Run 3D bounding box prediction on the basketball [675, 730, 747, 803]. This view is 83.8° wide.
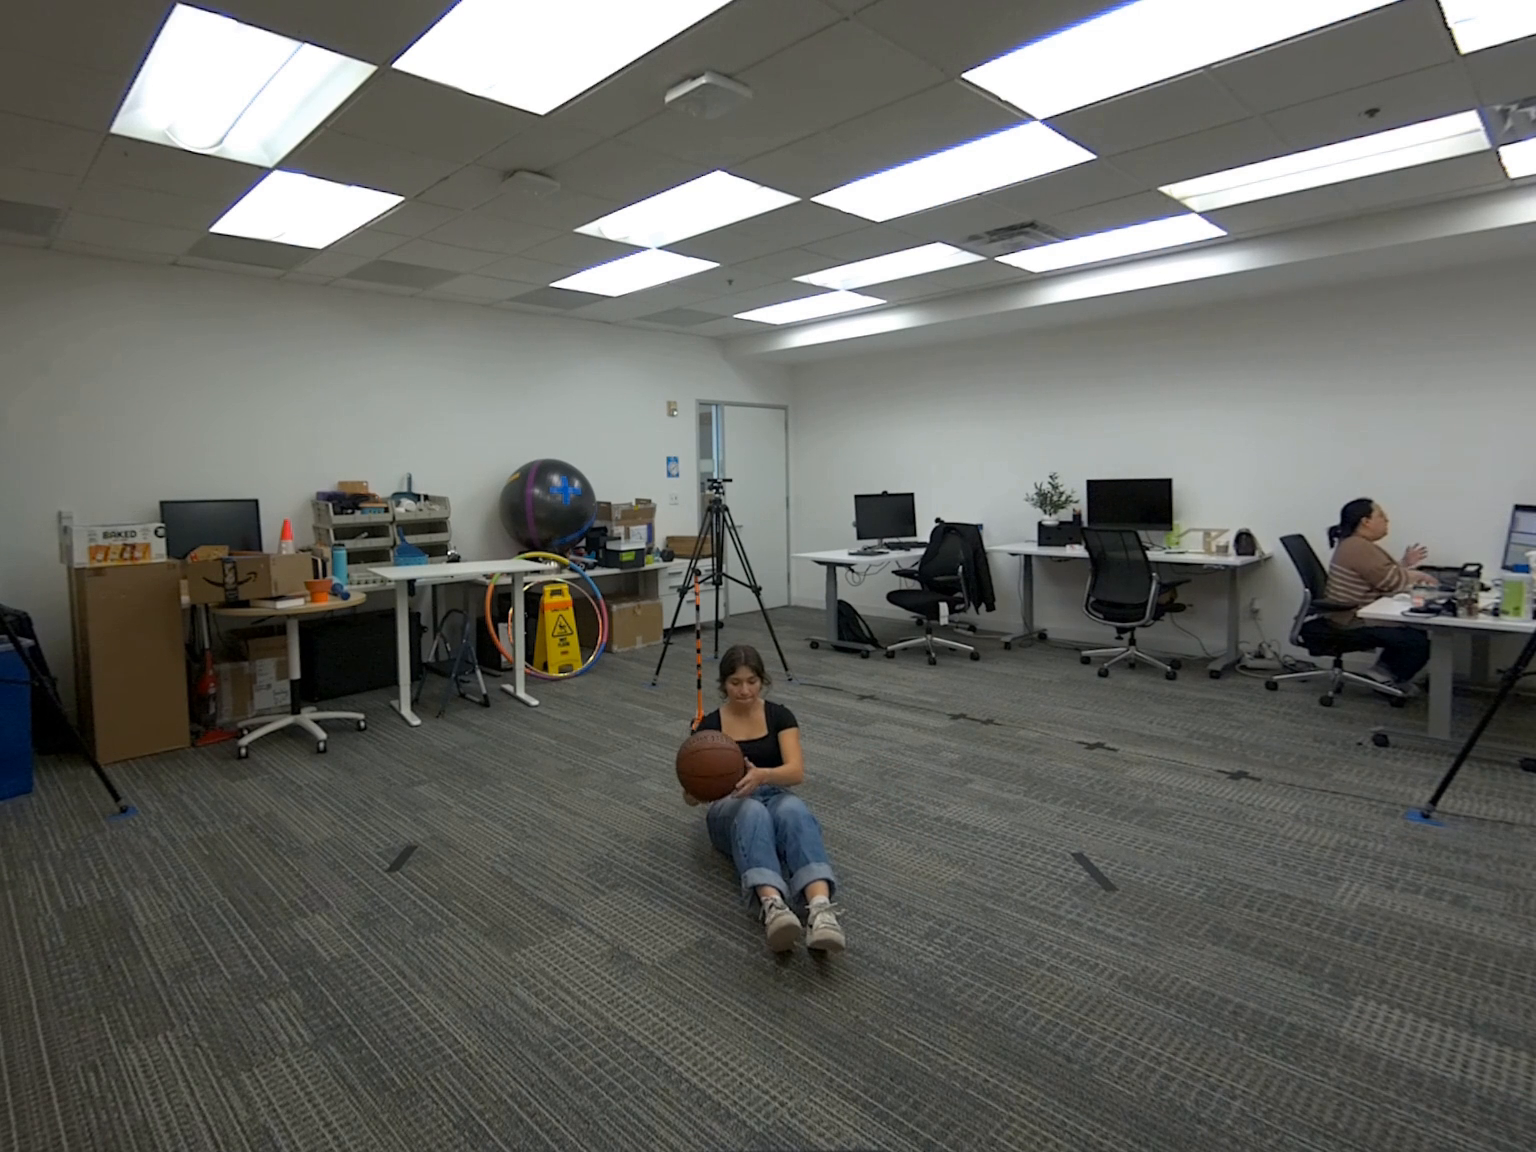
[{"bbox_3d":[-0.195,0.659,2.986,0.236,0.235,0.237,-1,5,-2],"label":"basketball"}]
